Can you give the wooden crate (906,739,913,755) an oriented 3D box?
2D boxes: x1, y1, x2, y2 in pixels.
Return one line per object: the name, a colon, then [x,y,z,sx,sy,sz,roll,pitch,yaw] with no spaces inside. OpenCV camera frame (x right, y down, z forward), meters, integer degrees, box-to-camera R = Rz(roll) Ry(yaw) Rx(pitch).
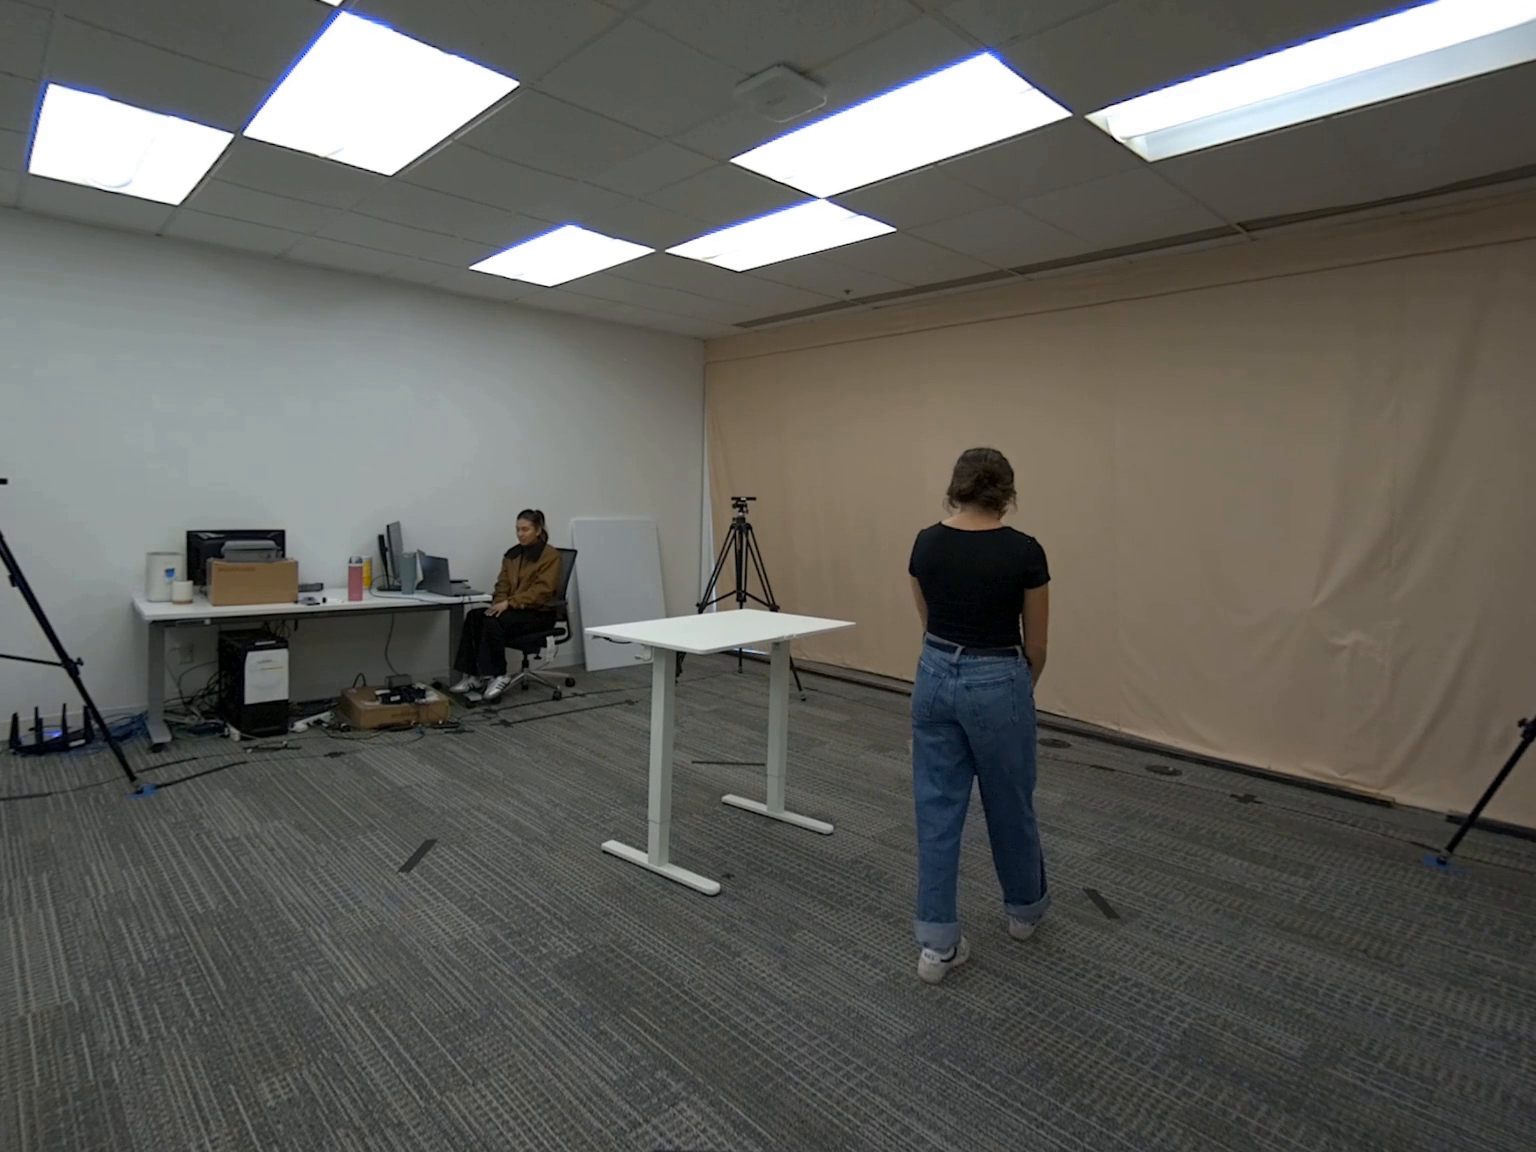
wooden crate: [0.682,0.477,2.814,0.310,0.272,0.318,11,8,33]
